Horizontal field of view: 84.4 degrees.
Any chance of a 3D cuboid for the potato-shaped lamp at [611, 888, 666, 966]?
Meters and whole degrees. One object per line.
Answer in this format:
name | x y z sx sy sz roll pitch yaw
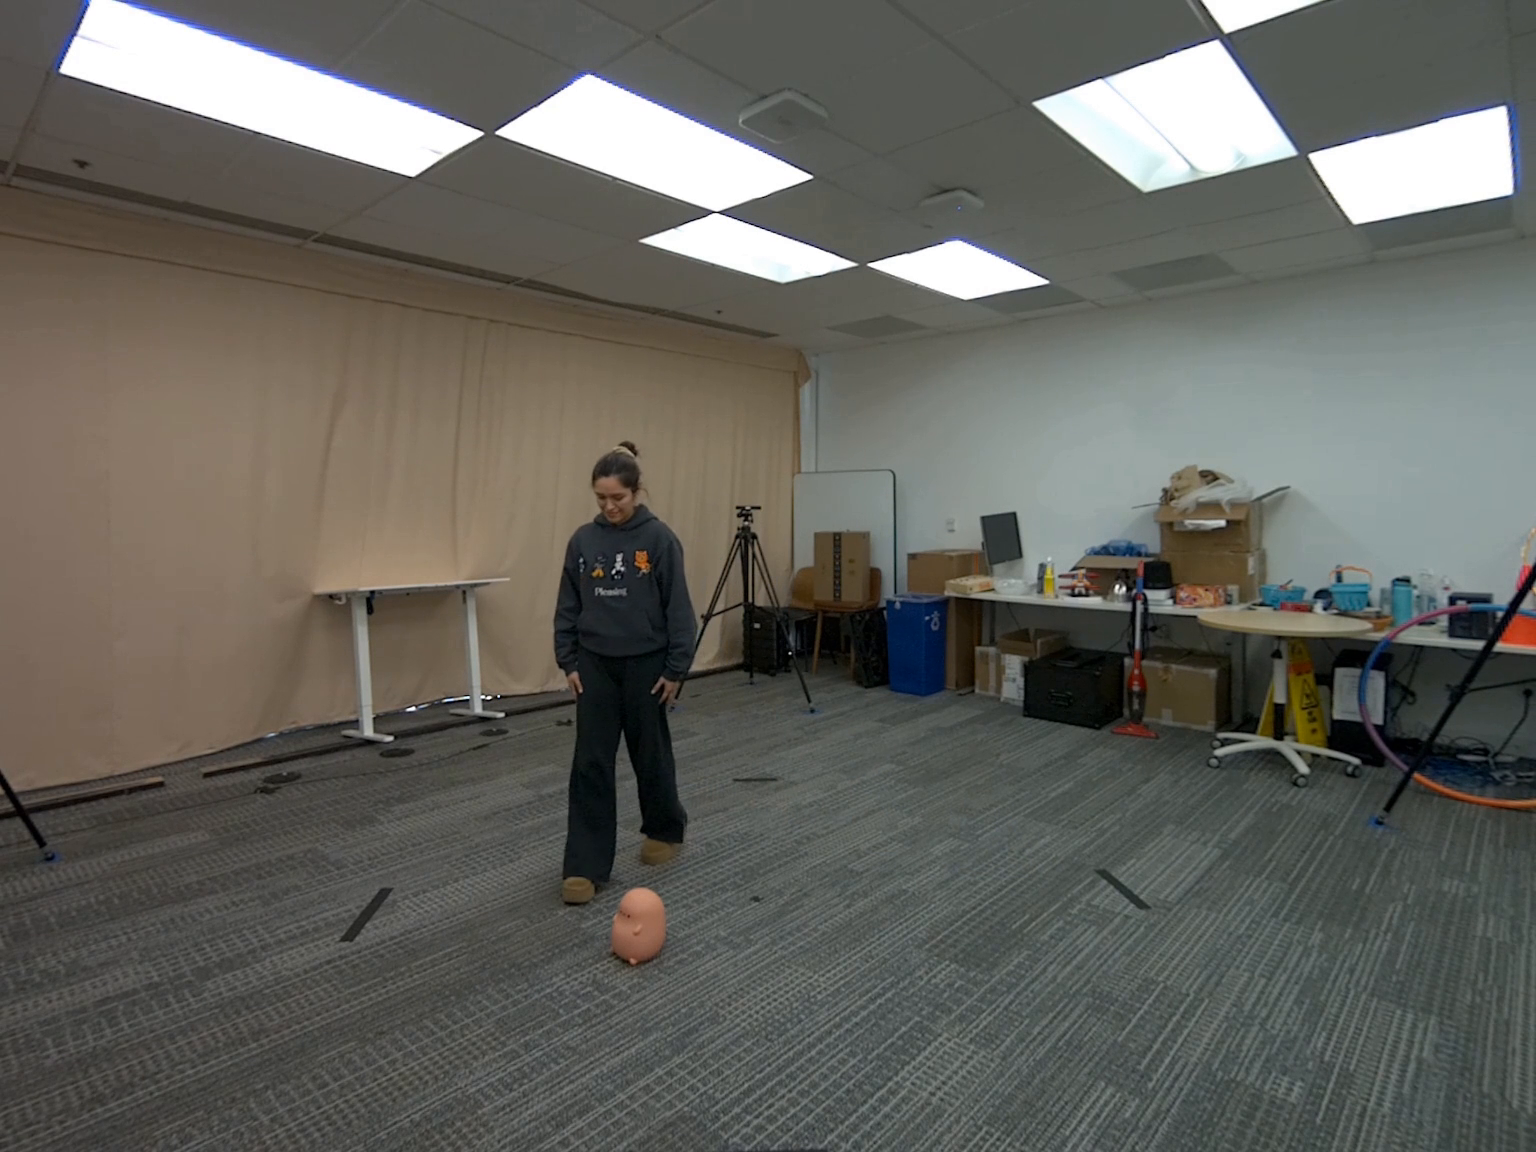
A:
potato-shaped lamp | -0.383 1.082 2.619 0.166 0.198 0.170 -4 1 -41
